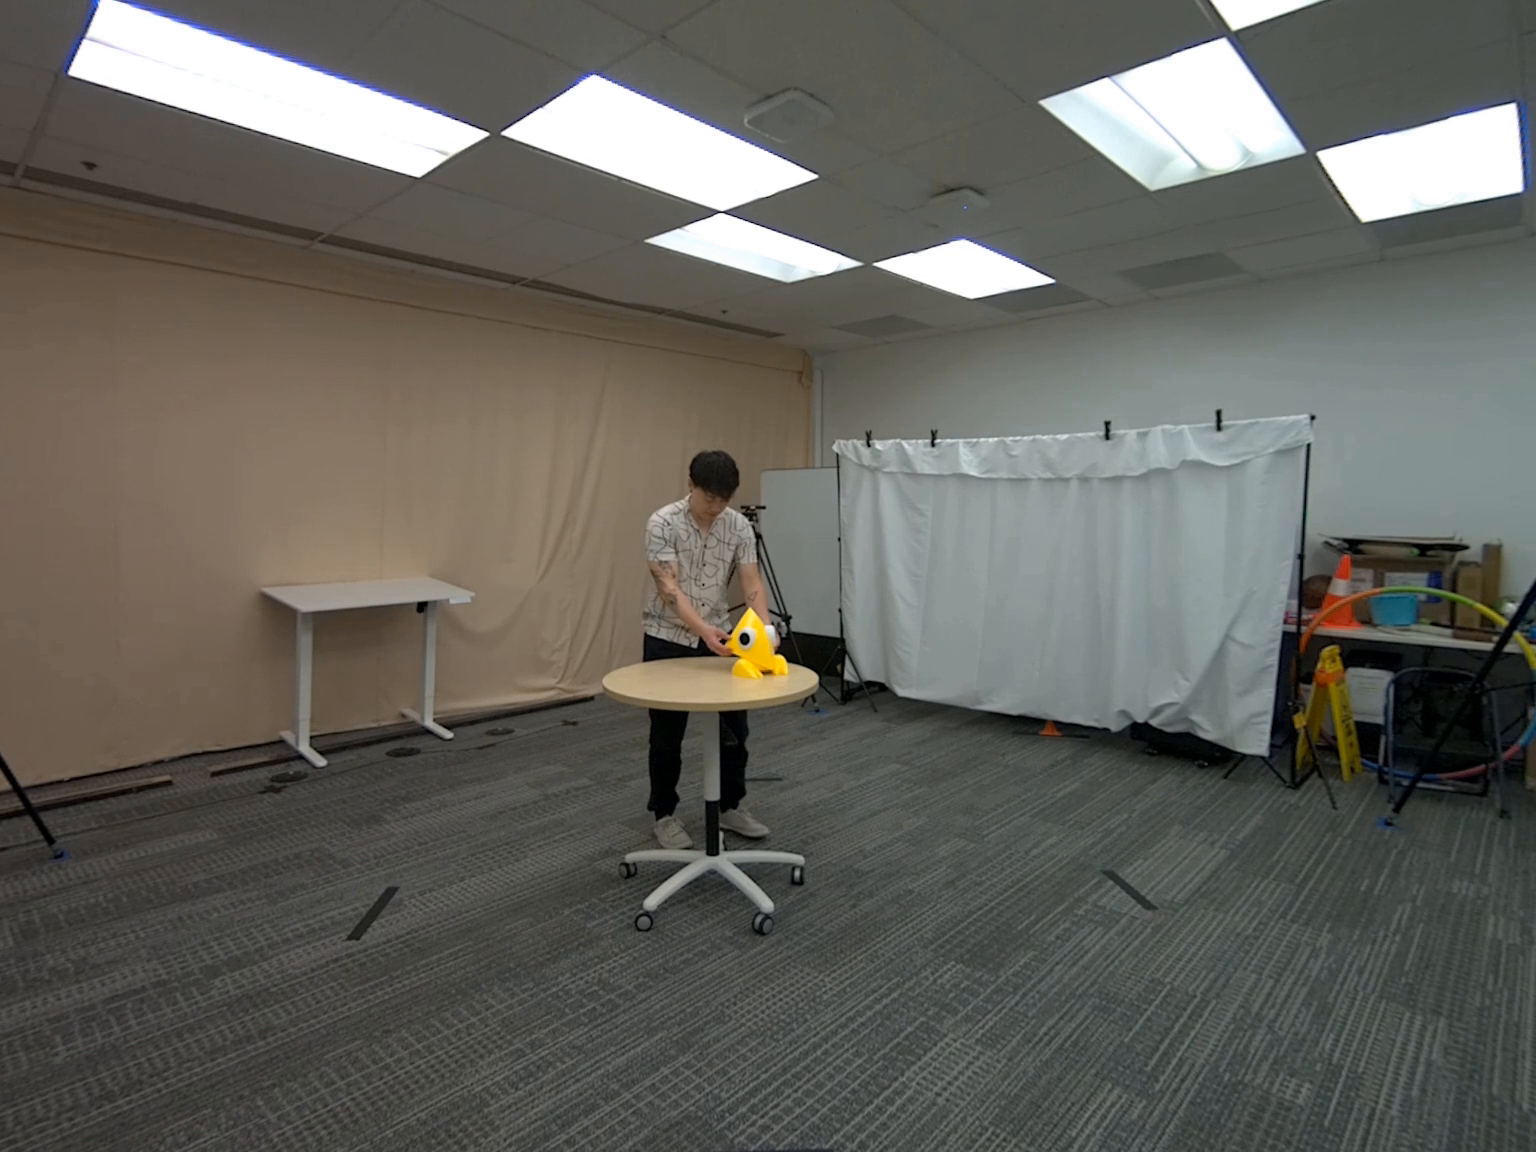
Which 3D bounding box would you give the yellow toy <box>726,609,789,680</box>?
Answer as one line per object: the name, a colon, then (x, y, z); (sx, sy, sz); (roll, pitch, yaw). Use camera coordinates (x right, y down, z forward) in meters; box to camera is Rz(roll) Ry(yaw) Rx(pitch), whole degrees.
yellow toy: (-0.032, 0.240, 3.063); (0.200, 0.230, 0.198); (-3, 5, -27)
